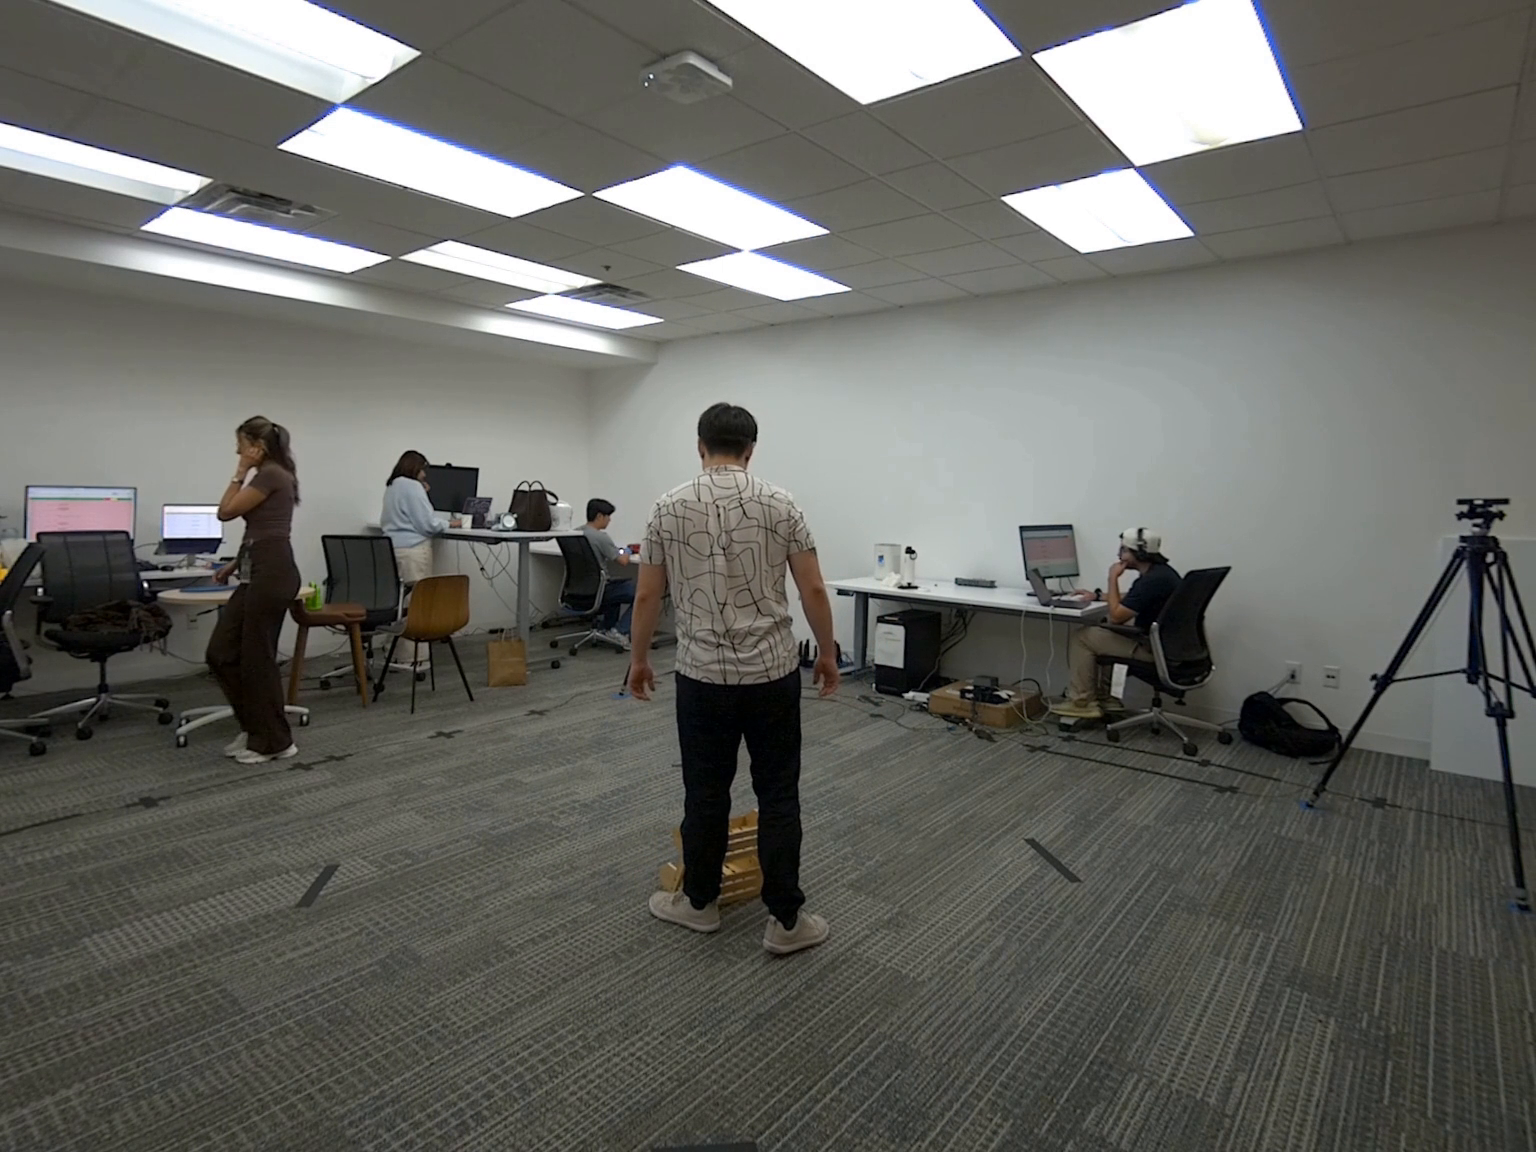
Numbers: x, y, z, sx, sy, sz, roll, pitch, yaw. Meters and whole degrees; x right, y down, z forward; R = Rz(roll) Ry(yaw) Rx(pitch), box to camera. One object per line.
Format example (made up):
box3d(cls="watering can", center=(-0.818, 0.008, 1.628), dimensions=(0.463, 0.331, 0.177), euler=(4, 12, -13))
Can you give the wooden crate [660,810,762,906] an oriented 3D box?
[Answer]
box3d(cls="wooden crate", center=(-0.183, 0.954, 2.946), dimensions=(0.315, 0.272, 0.312), euler=(-1, 7, -34))
